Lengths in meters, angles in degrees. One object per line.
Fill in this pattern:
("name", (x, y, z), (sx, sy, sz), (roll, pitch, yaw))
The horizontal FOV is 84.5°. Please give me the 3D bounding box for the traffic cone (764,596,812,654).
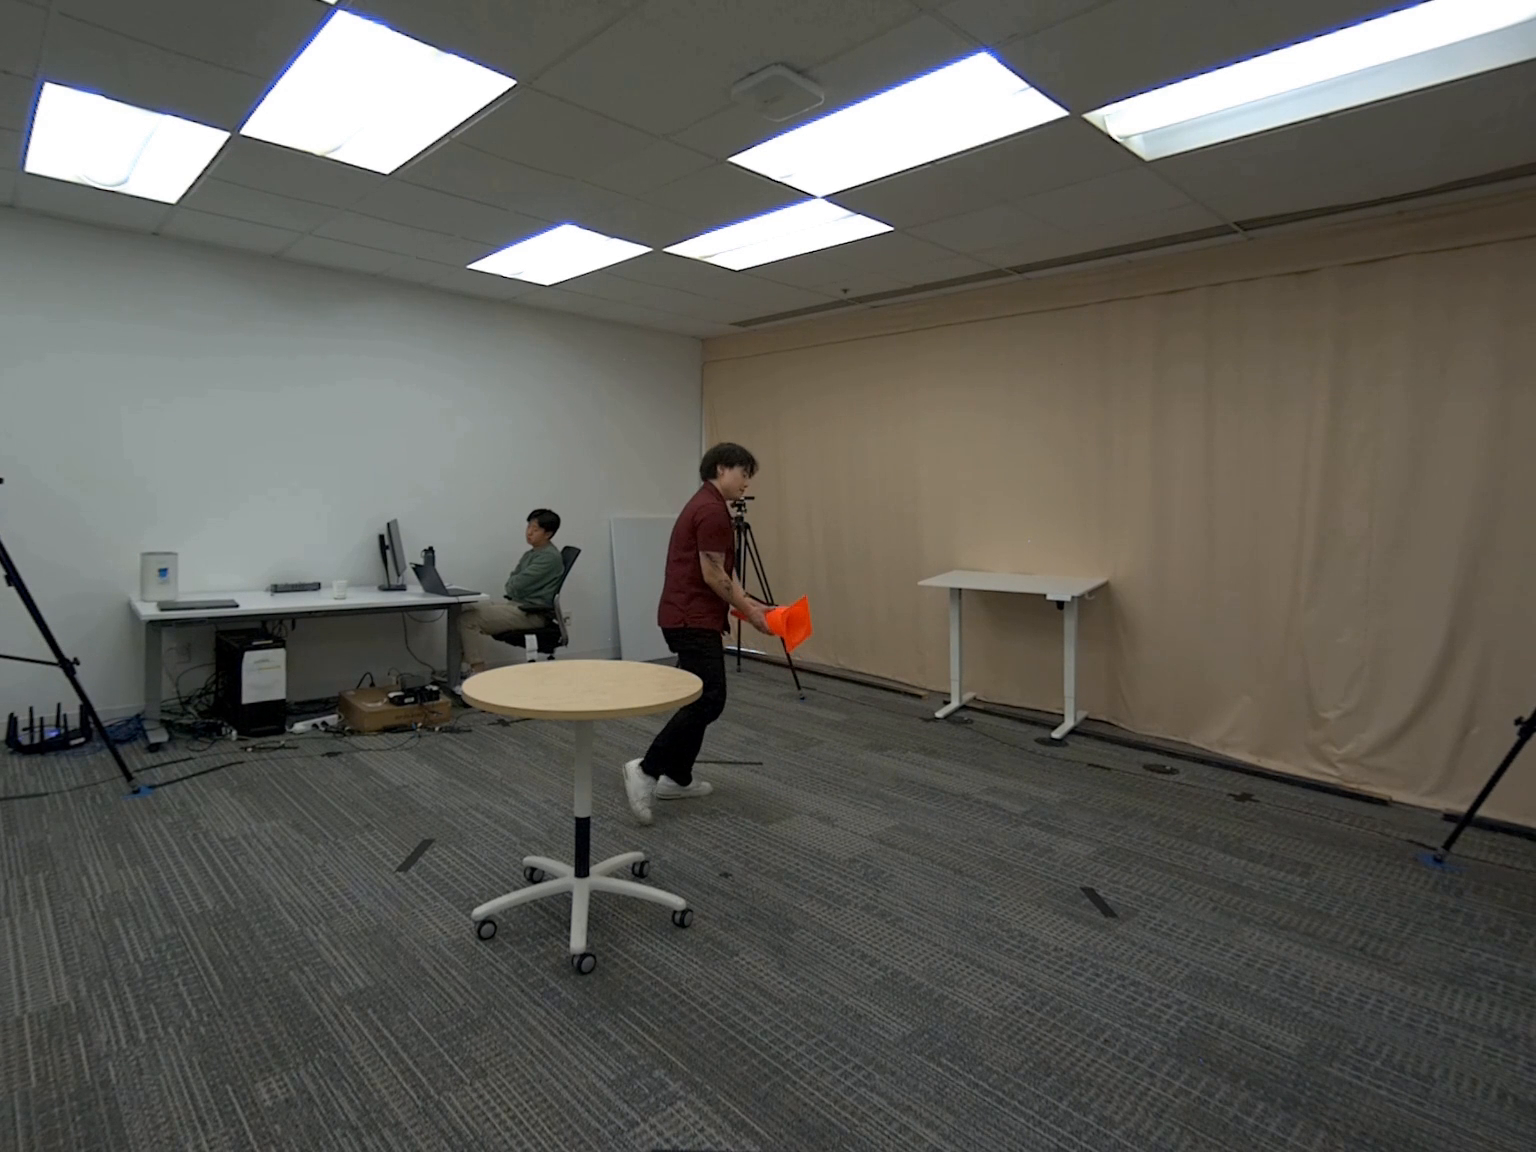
("traffic cone", (-0.028, 0.192, 3.799), (0.393, 0.200, 0.203), (7, 27, 37))
